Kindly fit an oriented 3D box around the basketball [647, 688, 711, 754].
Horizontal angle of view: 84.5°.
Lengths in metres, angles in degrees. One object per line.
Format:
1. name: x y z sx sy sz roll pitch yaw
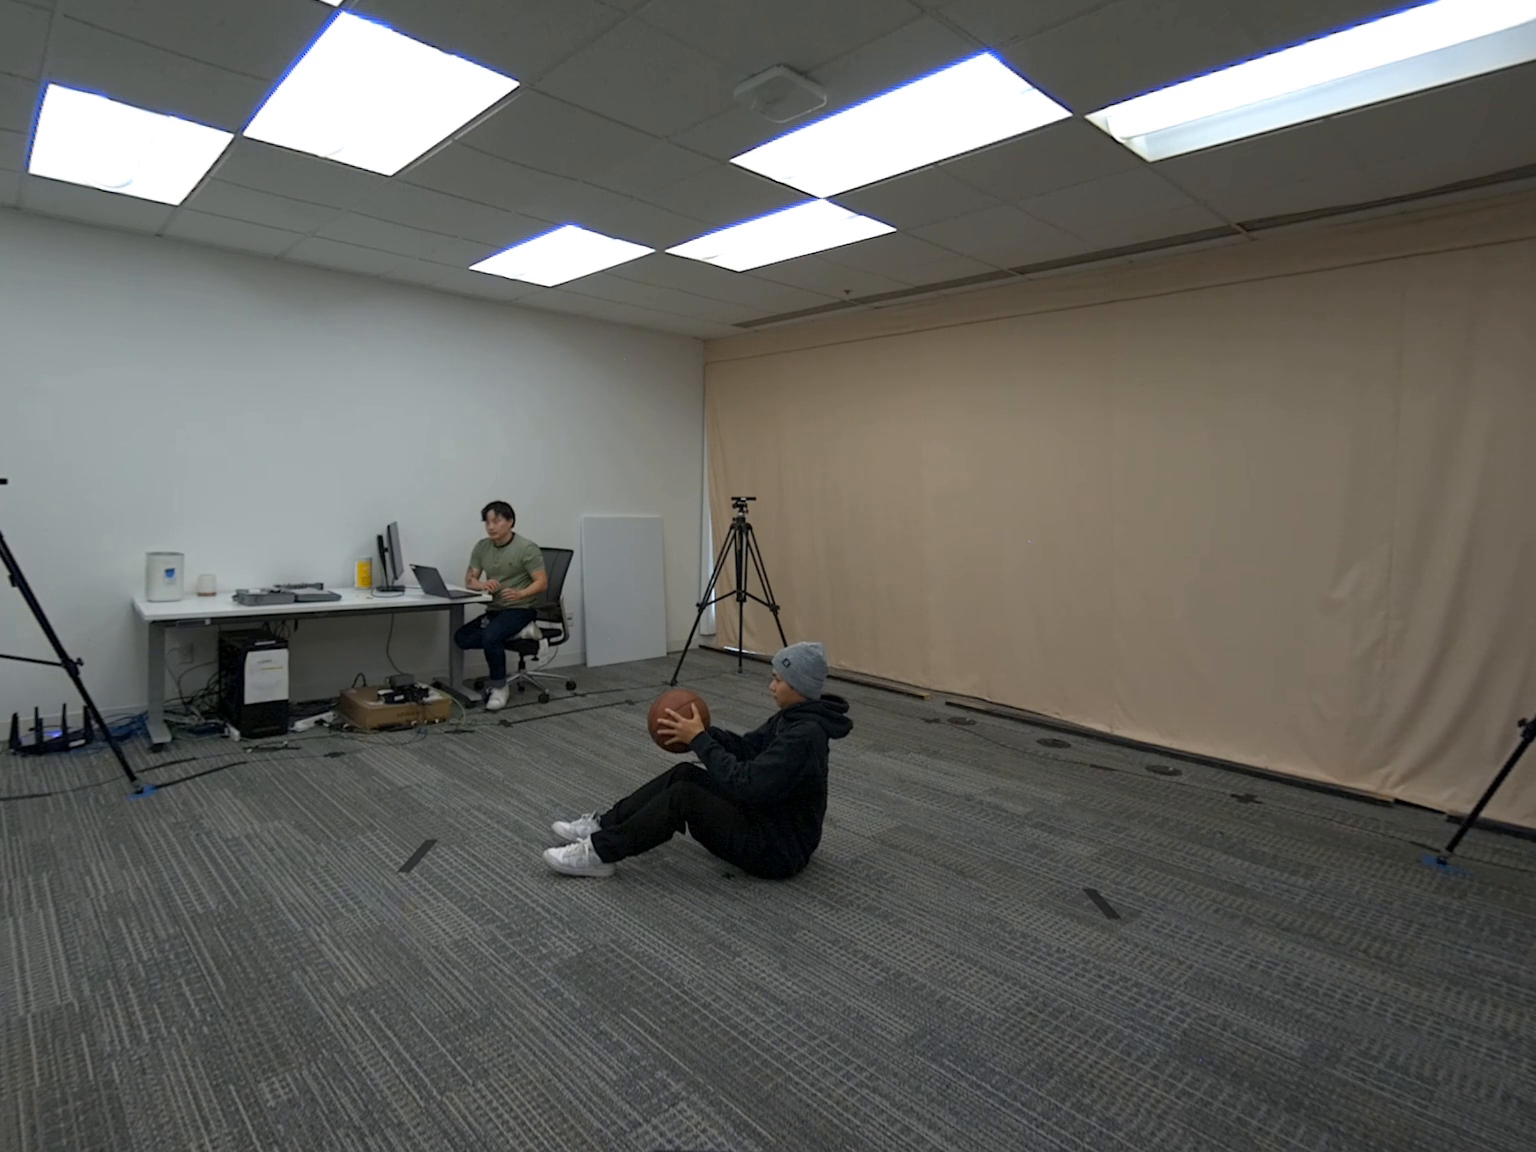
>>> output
1. basketball: -0.339 0.550 3.196 0.236 0.235 0.237 1 4 -1
